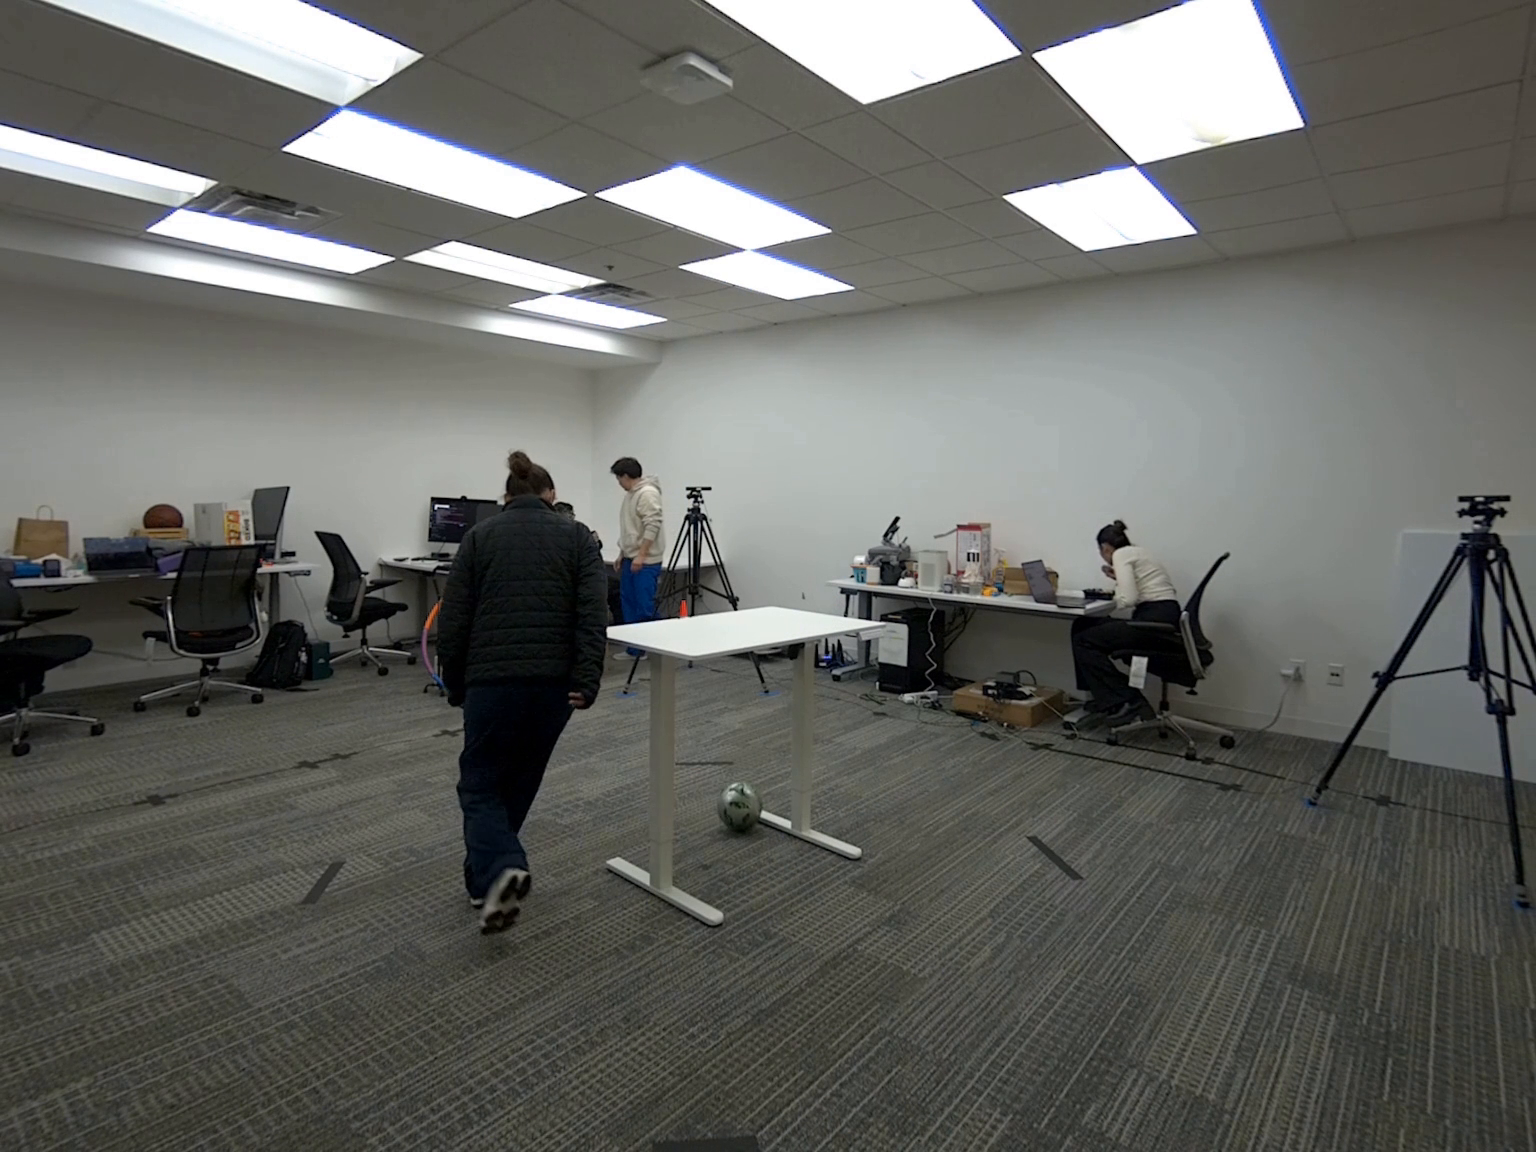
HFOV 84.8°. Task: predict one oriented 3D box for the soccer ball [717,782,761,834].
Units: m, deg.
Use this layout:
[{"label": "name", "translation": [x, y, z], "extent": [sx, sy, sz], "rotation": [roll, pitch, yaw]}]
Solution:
[{"label": "soccer ball", "translation": [-0.125, 0.936, 3.474], "extent": [0.187, 0.187, 0.188], "rotation": [1, 4, -2]}]
